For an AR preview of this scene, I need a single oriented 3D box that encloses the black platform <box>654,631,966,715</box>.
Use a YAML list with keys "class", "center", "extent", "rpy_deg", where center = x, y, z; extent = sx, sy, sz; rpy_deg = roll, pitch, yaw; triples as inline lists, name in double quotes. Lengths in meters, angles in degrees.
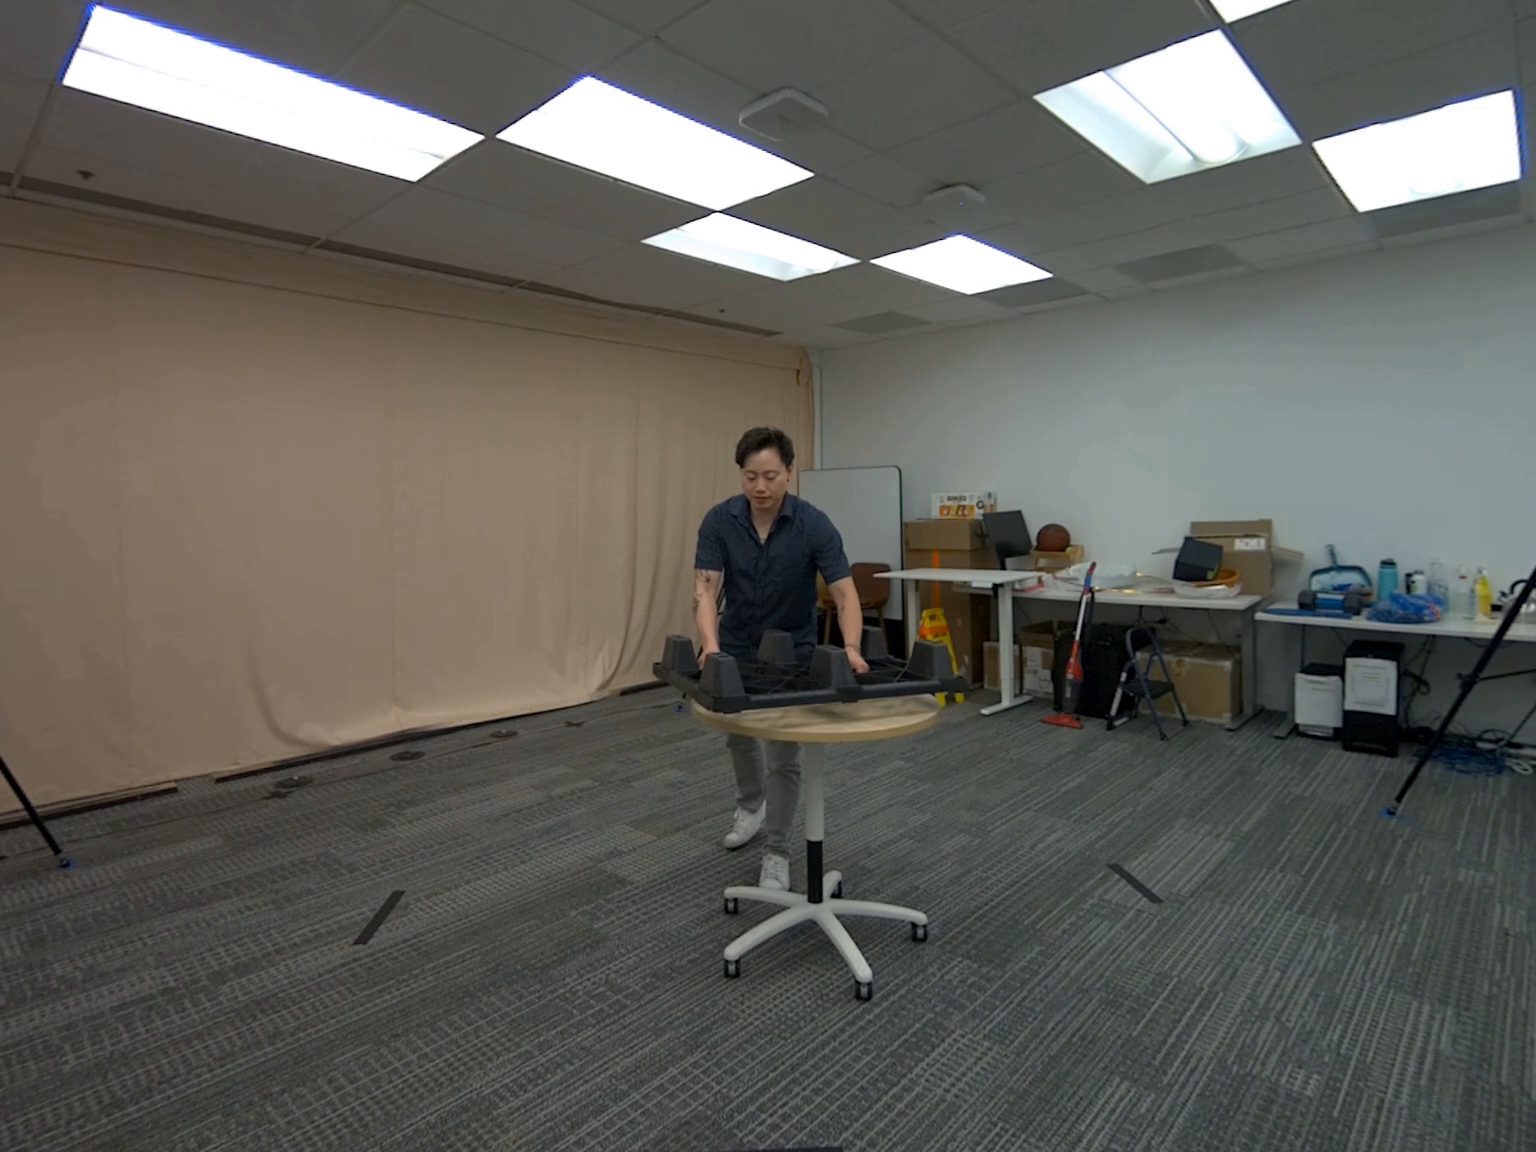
- class: "black platform"
  center: [0.107, 0.265, 2.588]
  extent: [0.788, 0.143, 0.619]
  rpy_deg: [-2, 4, -22]
